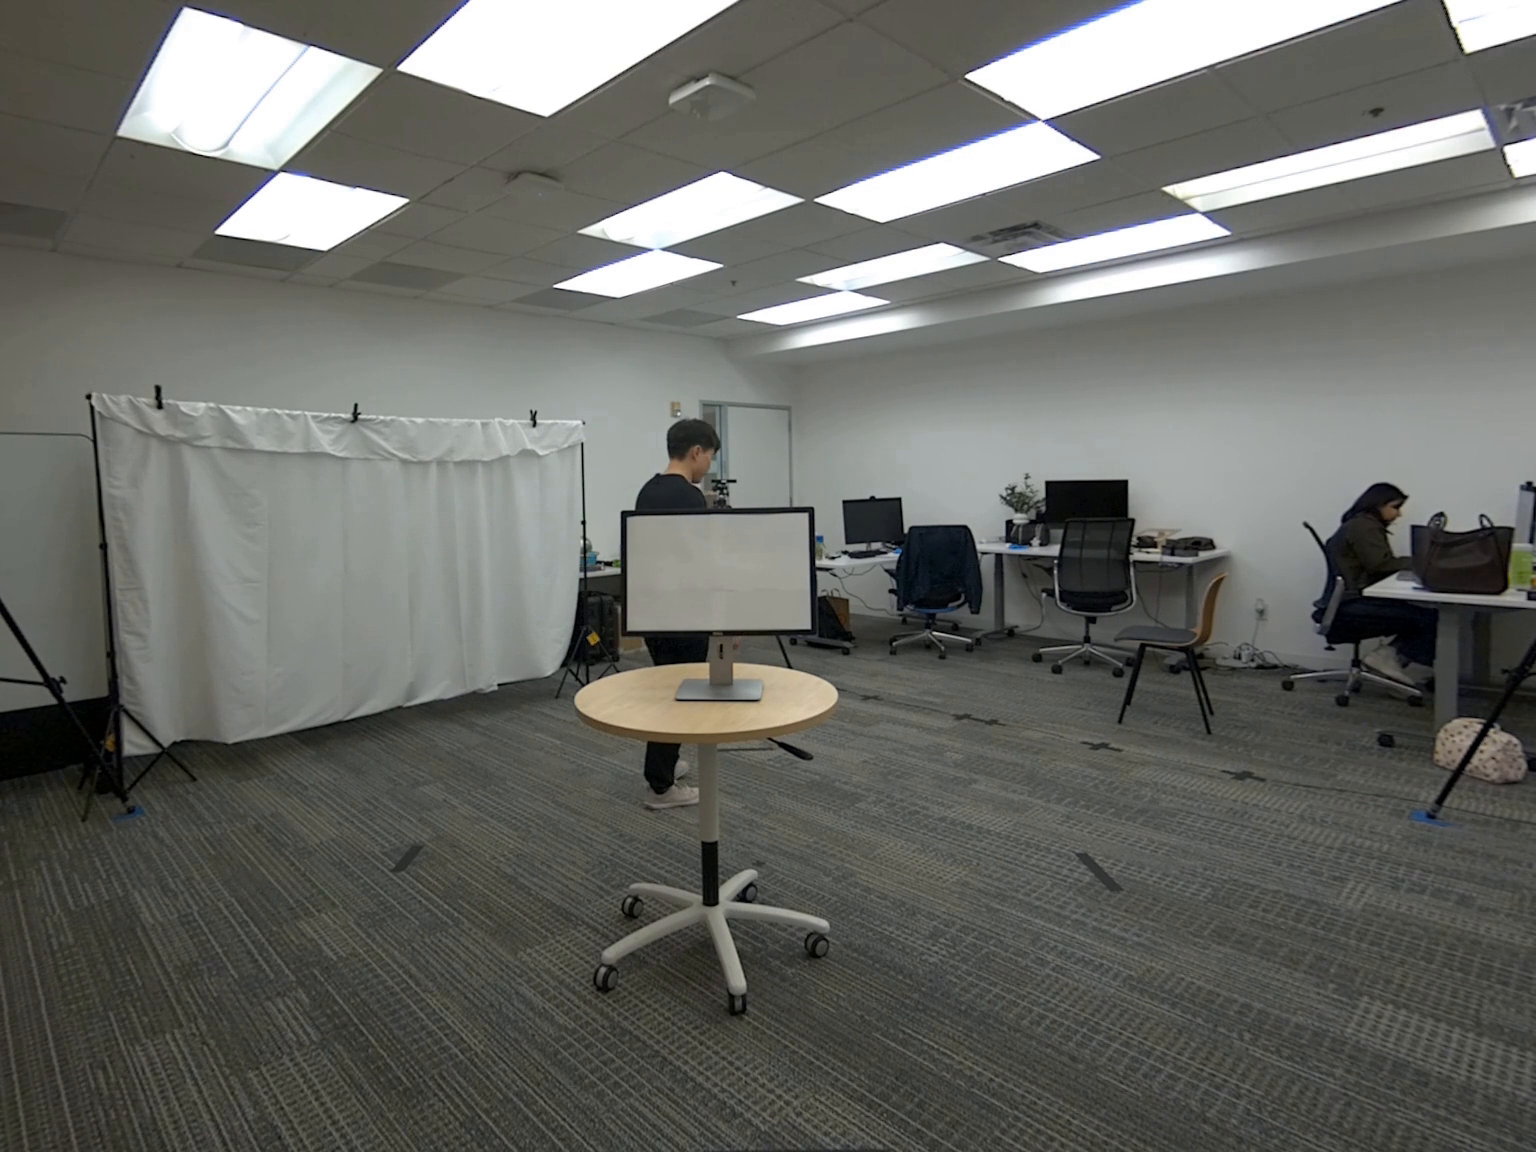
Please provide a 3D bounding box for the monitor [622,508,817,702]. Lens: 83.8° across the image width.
[{"bbox_3d":[-0.141,0.079,2.490,0.540,0.520,0.187,-1,6,3],"label":"monitor"}]
